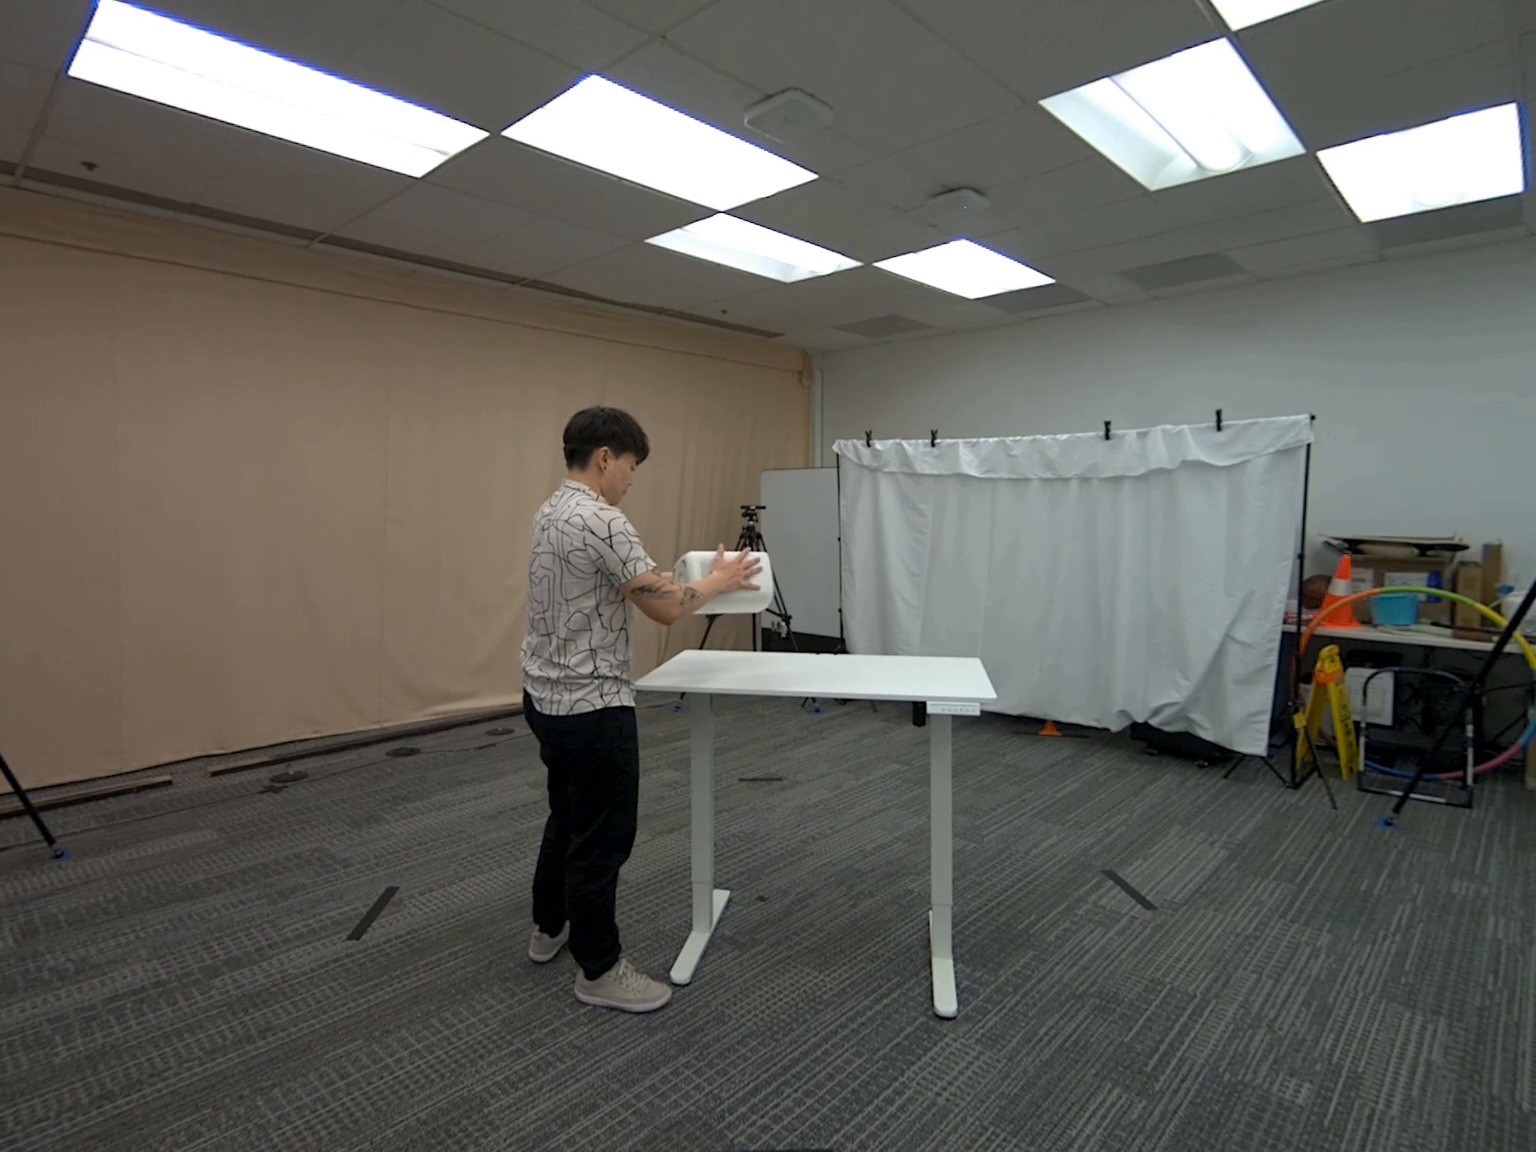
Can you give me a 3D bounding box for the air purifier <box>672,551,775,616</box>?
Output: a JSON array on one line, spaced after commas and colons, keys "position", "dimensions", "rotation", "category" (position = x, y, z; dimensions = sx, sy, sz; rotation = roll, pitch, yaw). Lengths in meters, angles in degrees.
[{"position": [-0.138, 0.021, 2.528], "dimensions": [0.259, 0.174, 0.172], "rotation": [0, -19, -23], "category": "air purifier"}]
